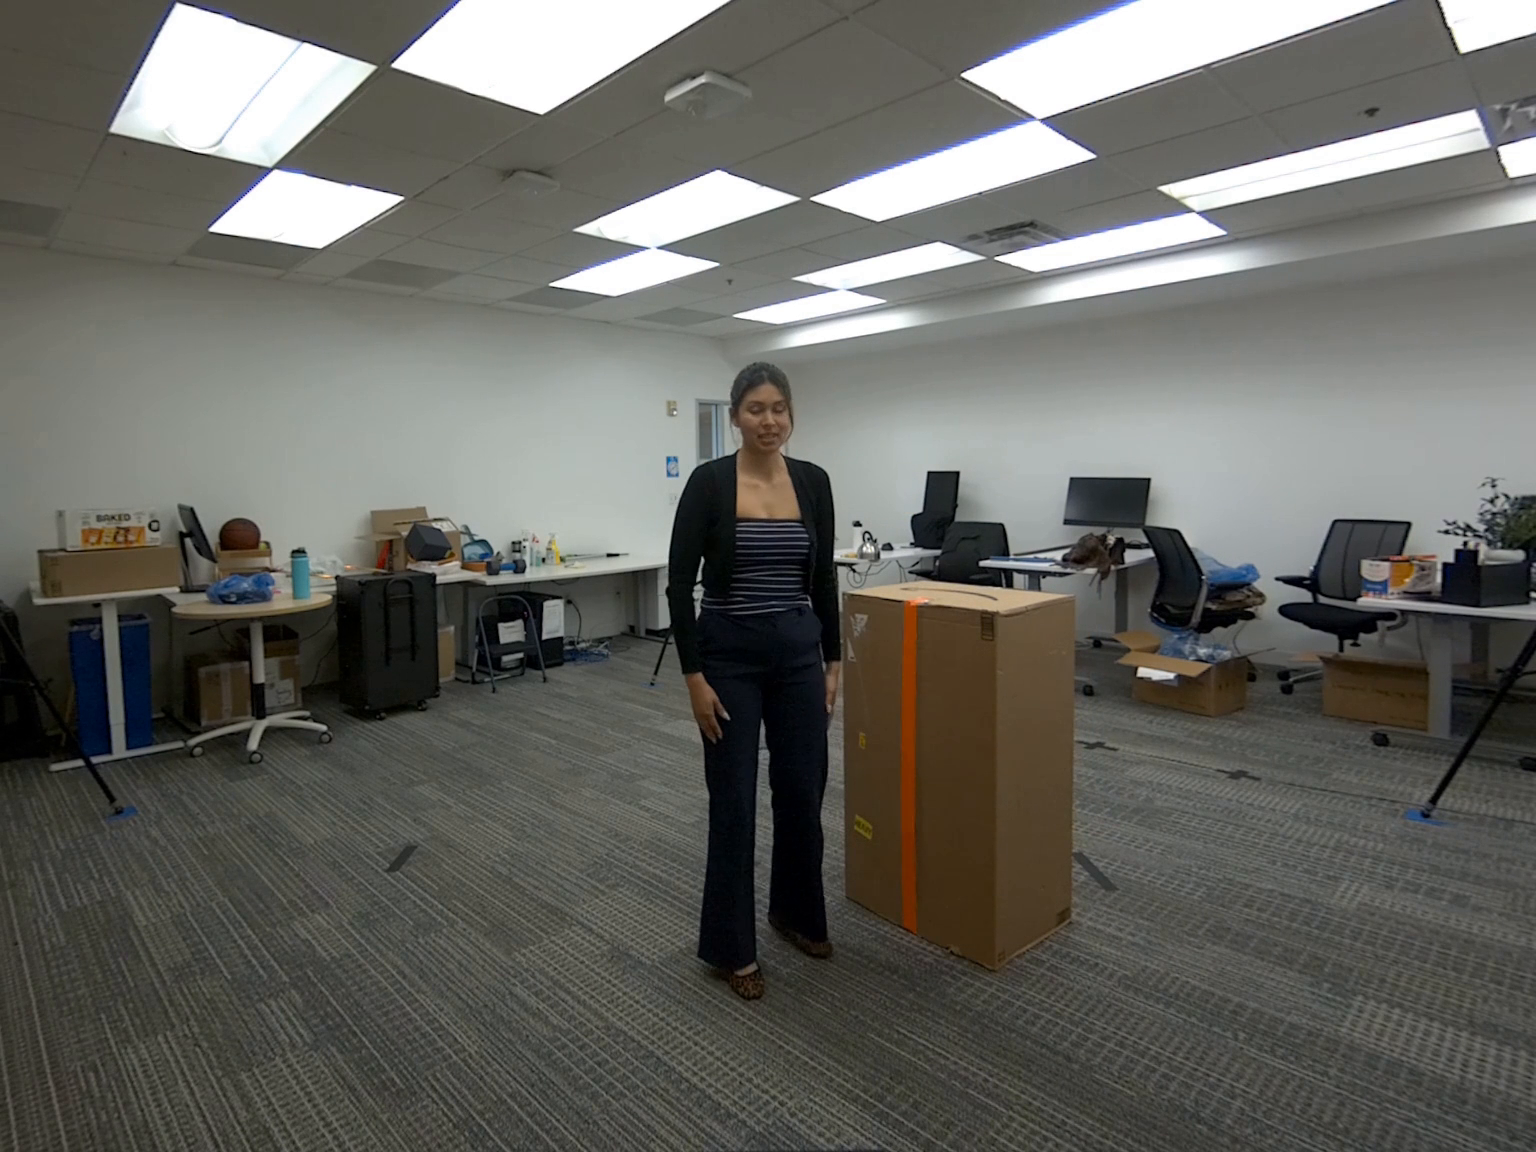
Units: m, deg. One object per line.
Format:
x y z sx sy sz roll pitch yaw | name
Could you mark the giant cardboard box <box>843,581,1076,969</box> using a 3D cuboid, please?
0.596 0.566 2.713 0.415 1.022 0.595 -5 5 -40 | giant cardboard box
